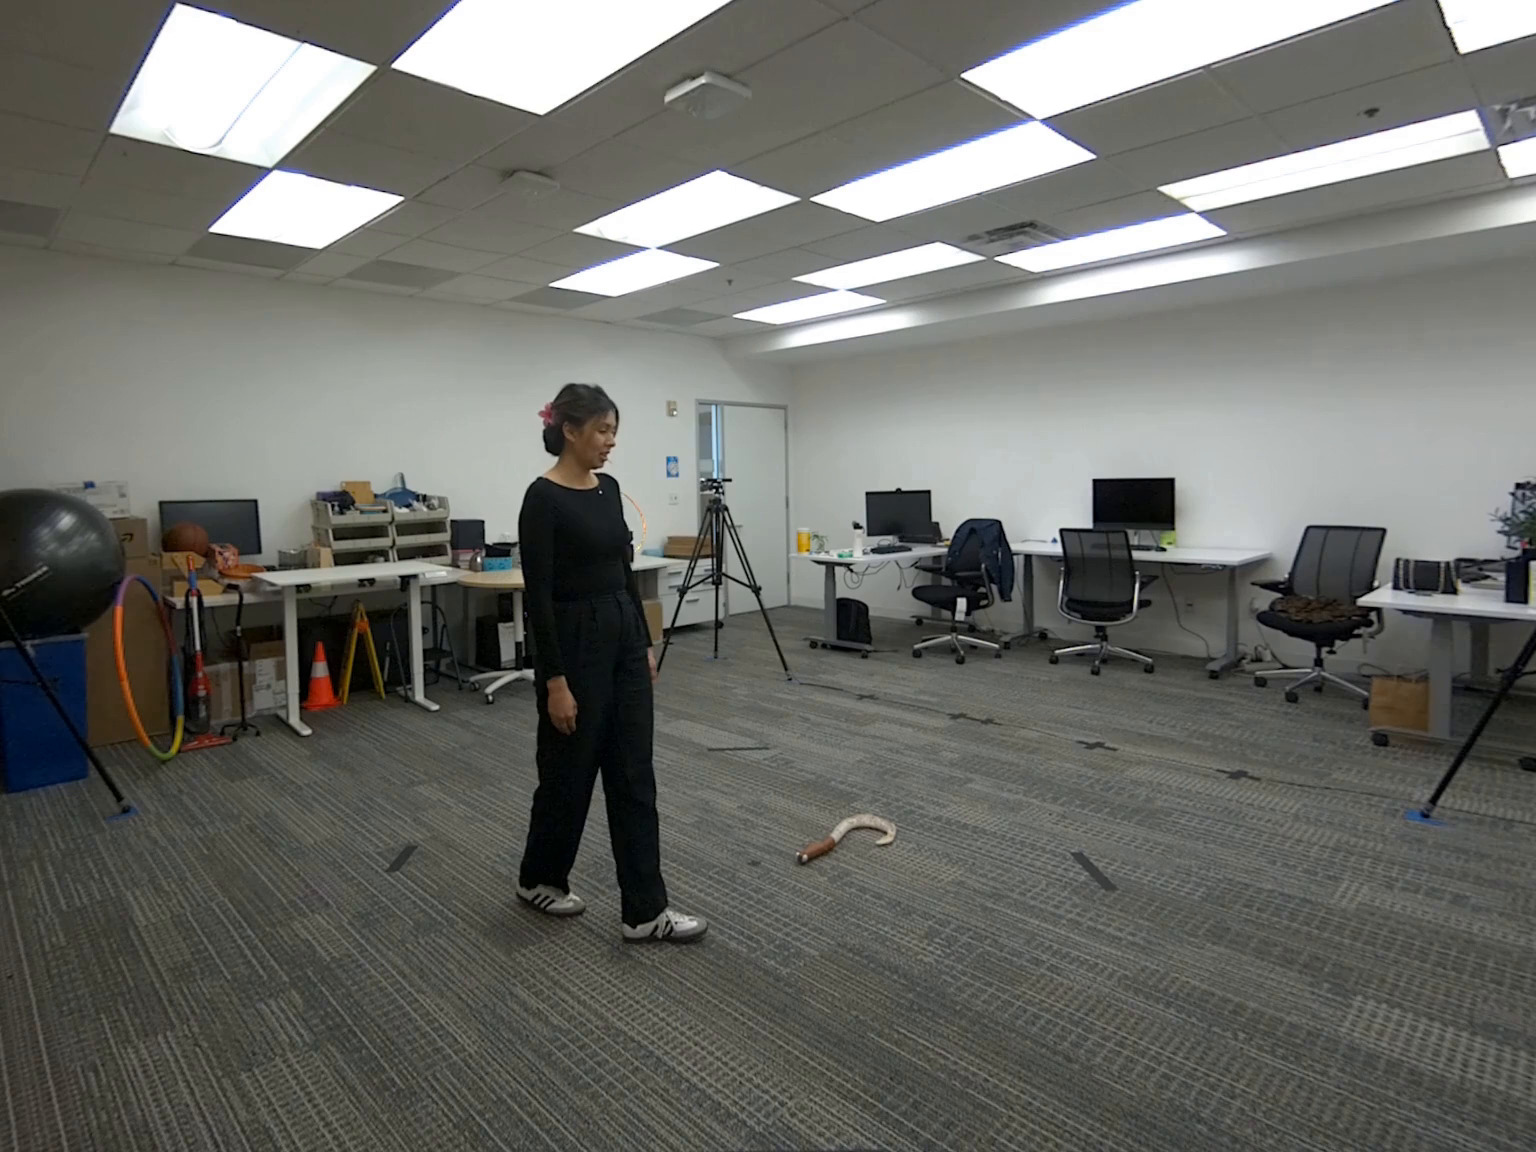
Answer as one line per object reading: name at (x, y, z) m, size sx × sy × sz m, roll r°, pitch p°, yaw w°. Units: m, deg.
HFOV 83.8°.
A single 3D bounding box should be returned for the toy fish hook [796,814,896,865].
toy fish hook at (0.309, 1.002, 3.233) m, size 0.231 × 0.048 × 0.494 m, roll 3°, pitch 8°, yaw 39°
